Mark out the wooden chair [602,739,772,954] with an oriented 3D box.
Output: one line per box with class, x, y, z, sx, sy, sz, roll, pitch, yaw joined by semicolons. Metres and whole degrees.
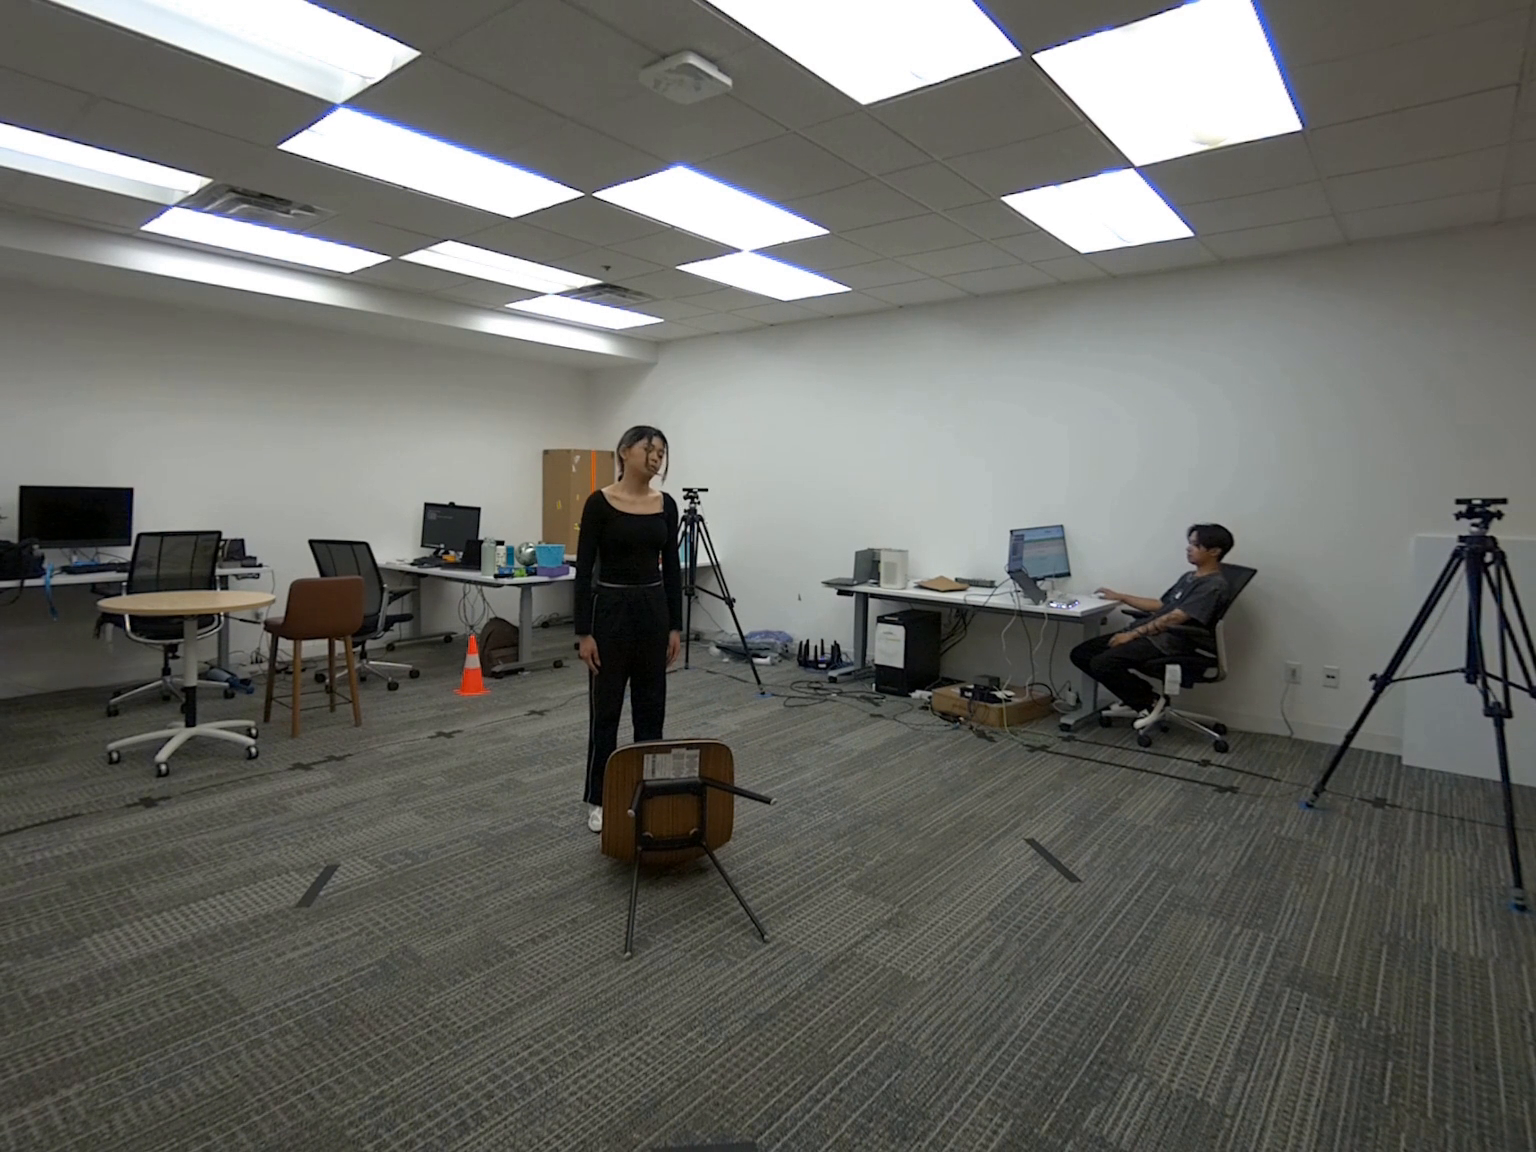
wooden chair;-0.343;0.819;2.944;0.470;0.522;0.895;0;4;-18
